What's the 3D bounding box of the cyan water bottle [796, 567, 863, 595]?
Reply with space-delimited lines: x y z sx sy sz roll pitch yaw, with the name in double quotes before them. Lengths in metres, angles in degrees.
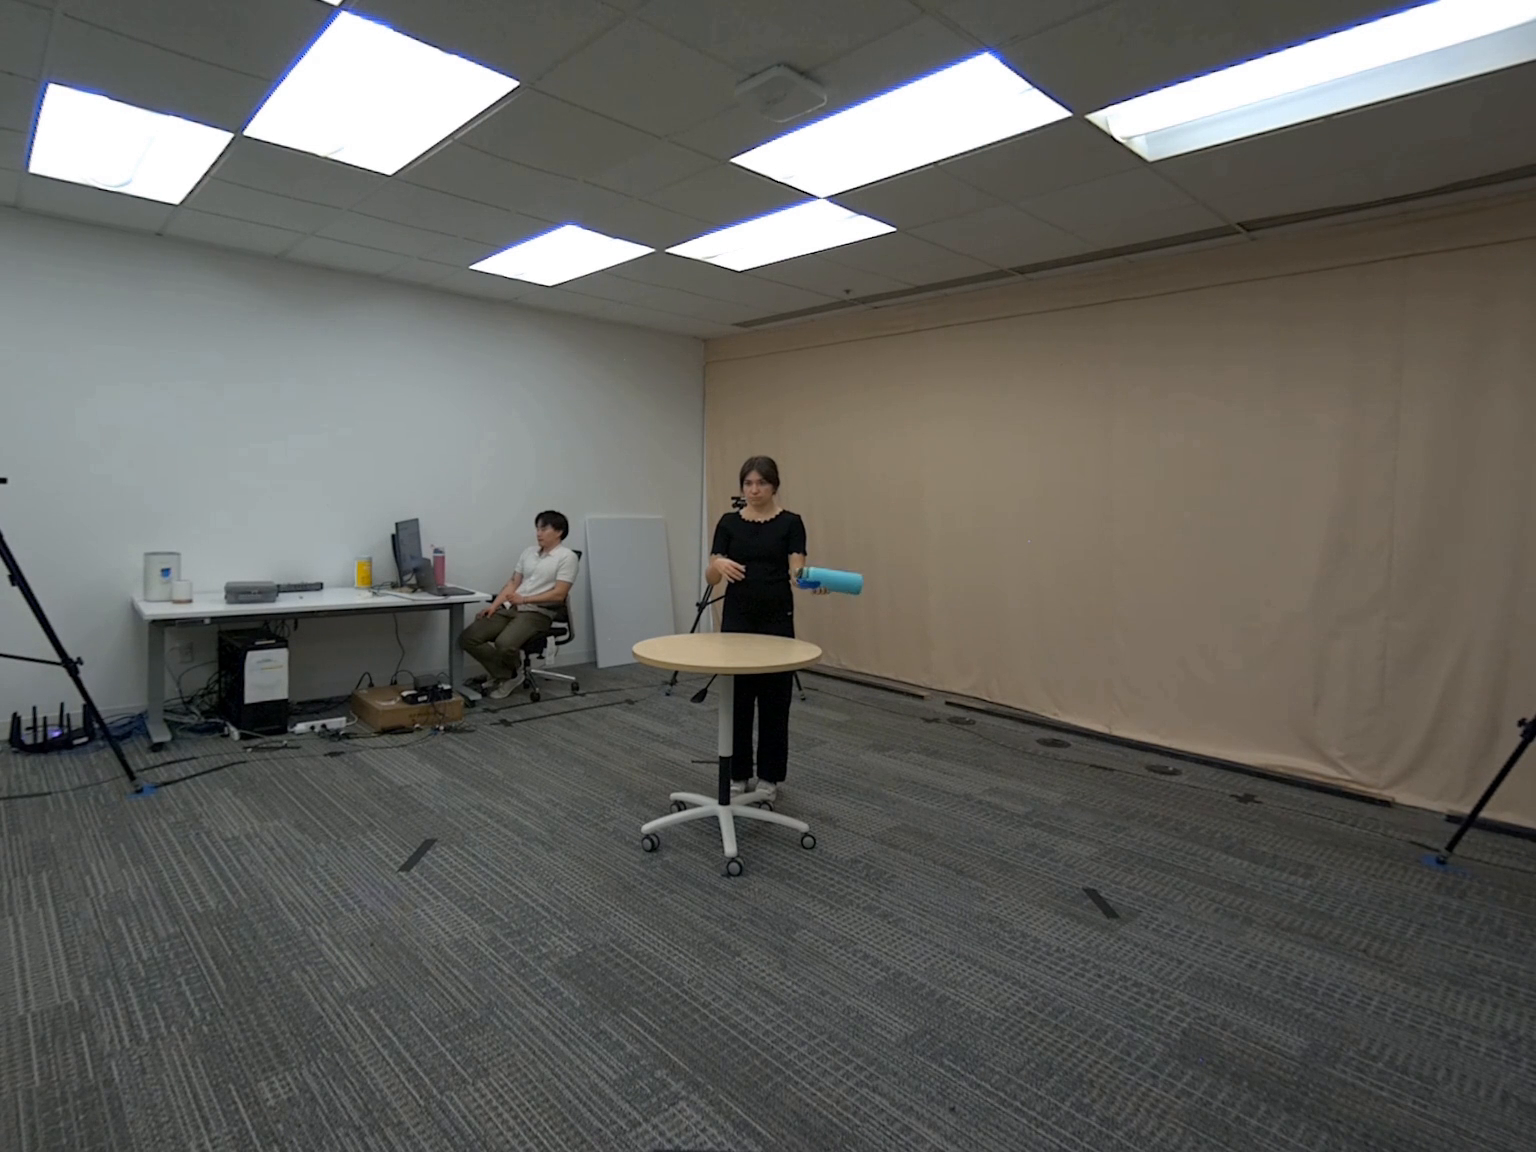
"cyan water bottle" 0.241 0.014 3.534 0.281 0.092 0.093 6 3 -7
